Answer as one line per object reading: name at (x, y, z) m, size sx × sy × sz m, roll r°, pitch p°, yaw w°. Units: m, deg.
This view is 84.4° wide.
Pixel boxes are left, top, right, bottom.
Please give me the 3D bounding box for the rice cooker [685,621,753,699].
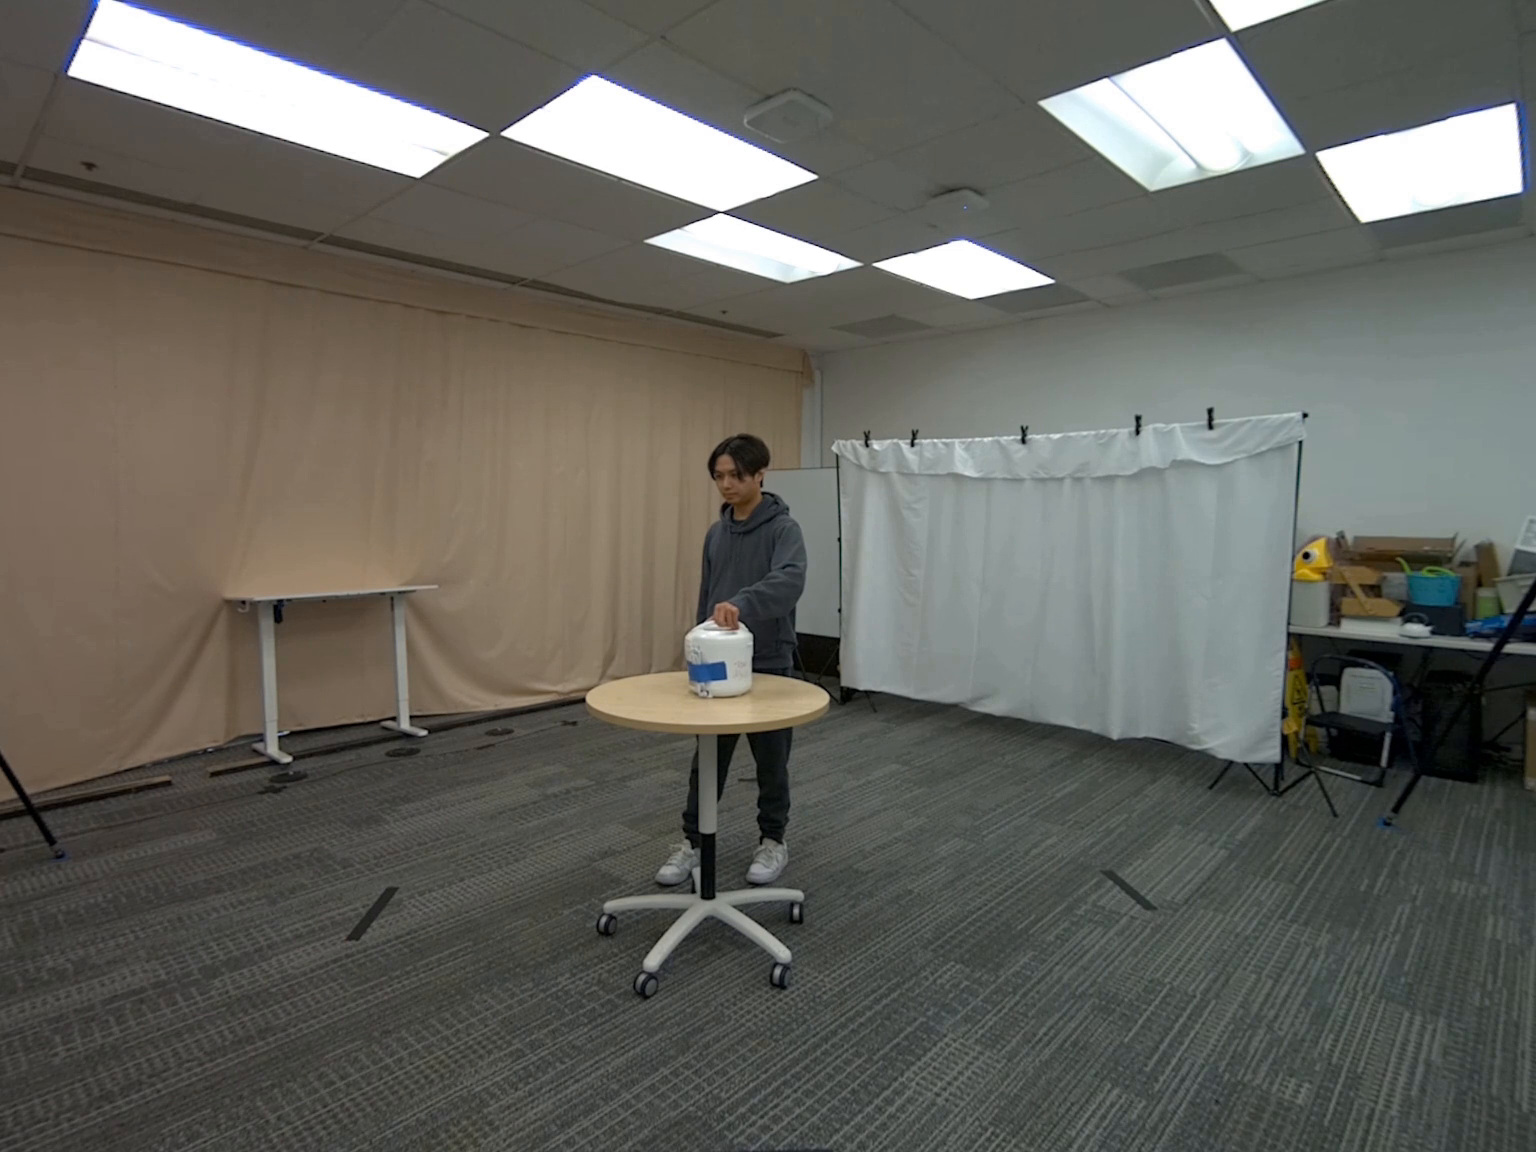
rice cooker at (-0.155, 0.256, 2.696) m, size 0.218 × 0.232 × 0.221 m, roll 0°, pitch 4°, yaw -13°
